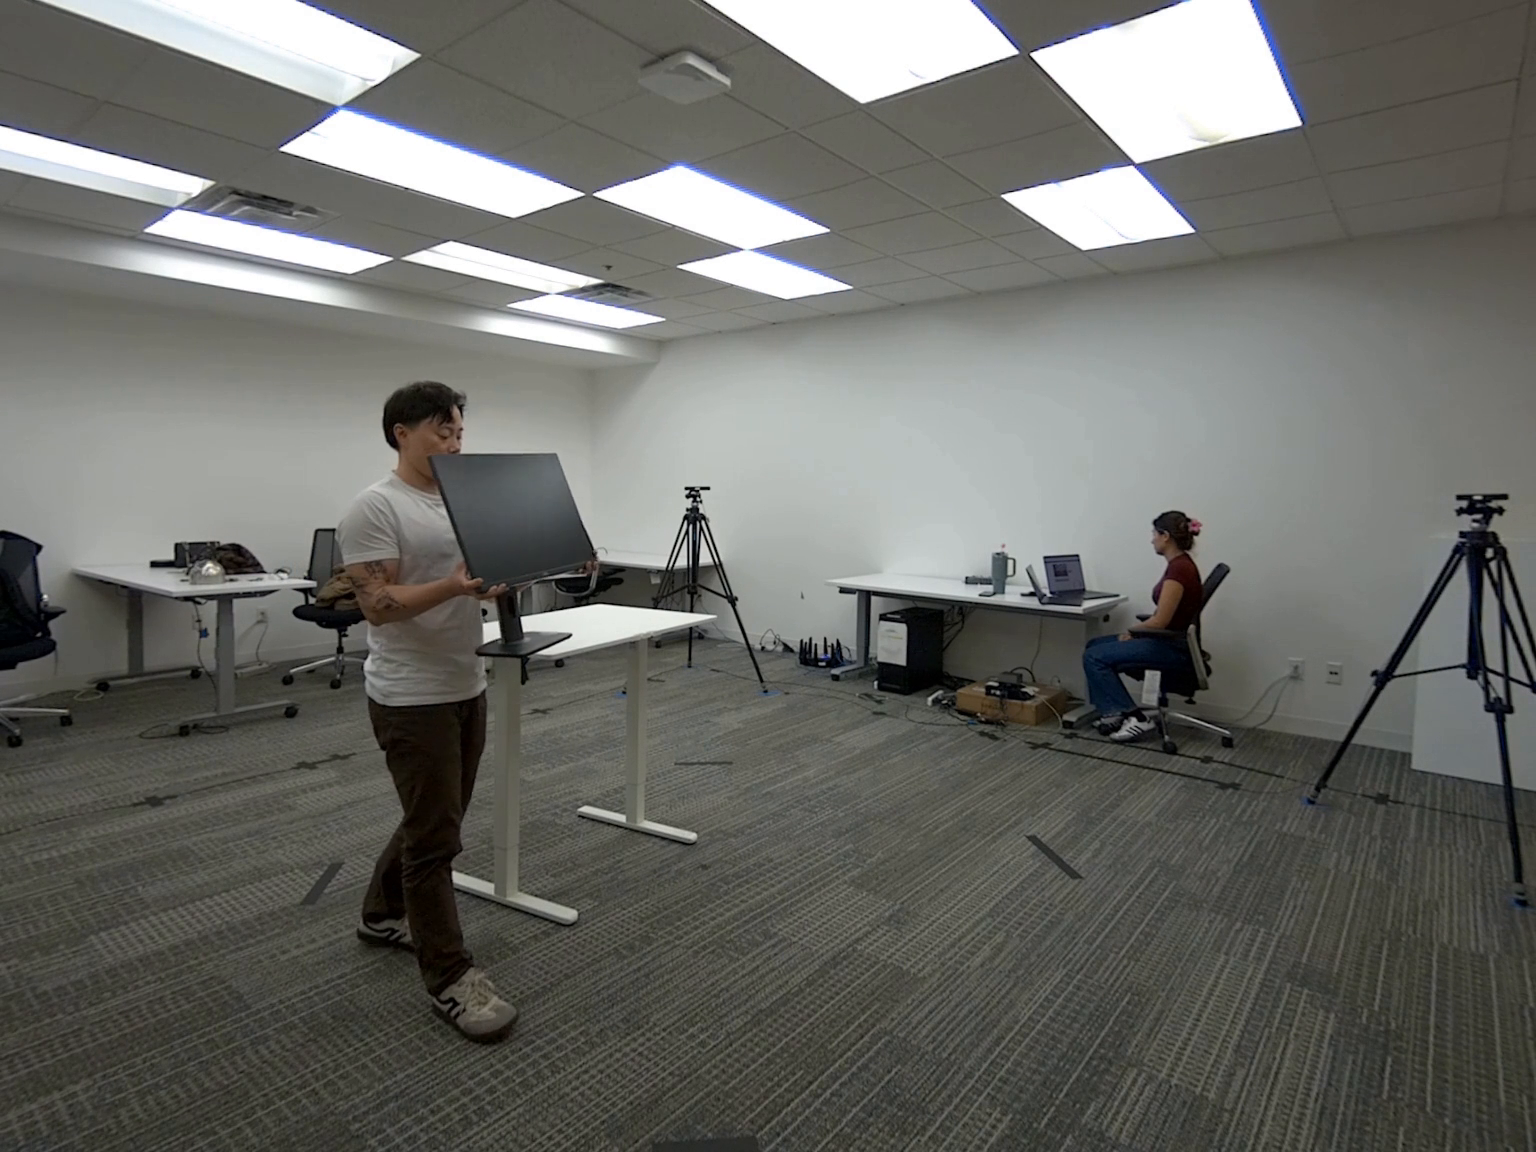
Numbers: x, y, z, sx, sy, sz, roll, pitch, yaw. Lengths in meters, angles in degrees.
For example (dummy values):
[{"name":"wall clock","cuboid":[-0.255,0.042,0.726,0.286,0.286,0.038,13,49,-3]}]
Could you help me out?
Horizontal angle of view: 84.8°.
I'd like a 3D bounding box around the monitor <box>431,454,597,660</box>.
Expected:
[{"name":"monitor","cuboid":[-0.686,-0.069,2.254,0.190,0.521,0.531,-6,4,19]}]
